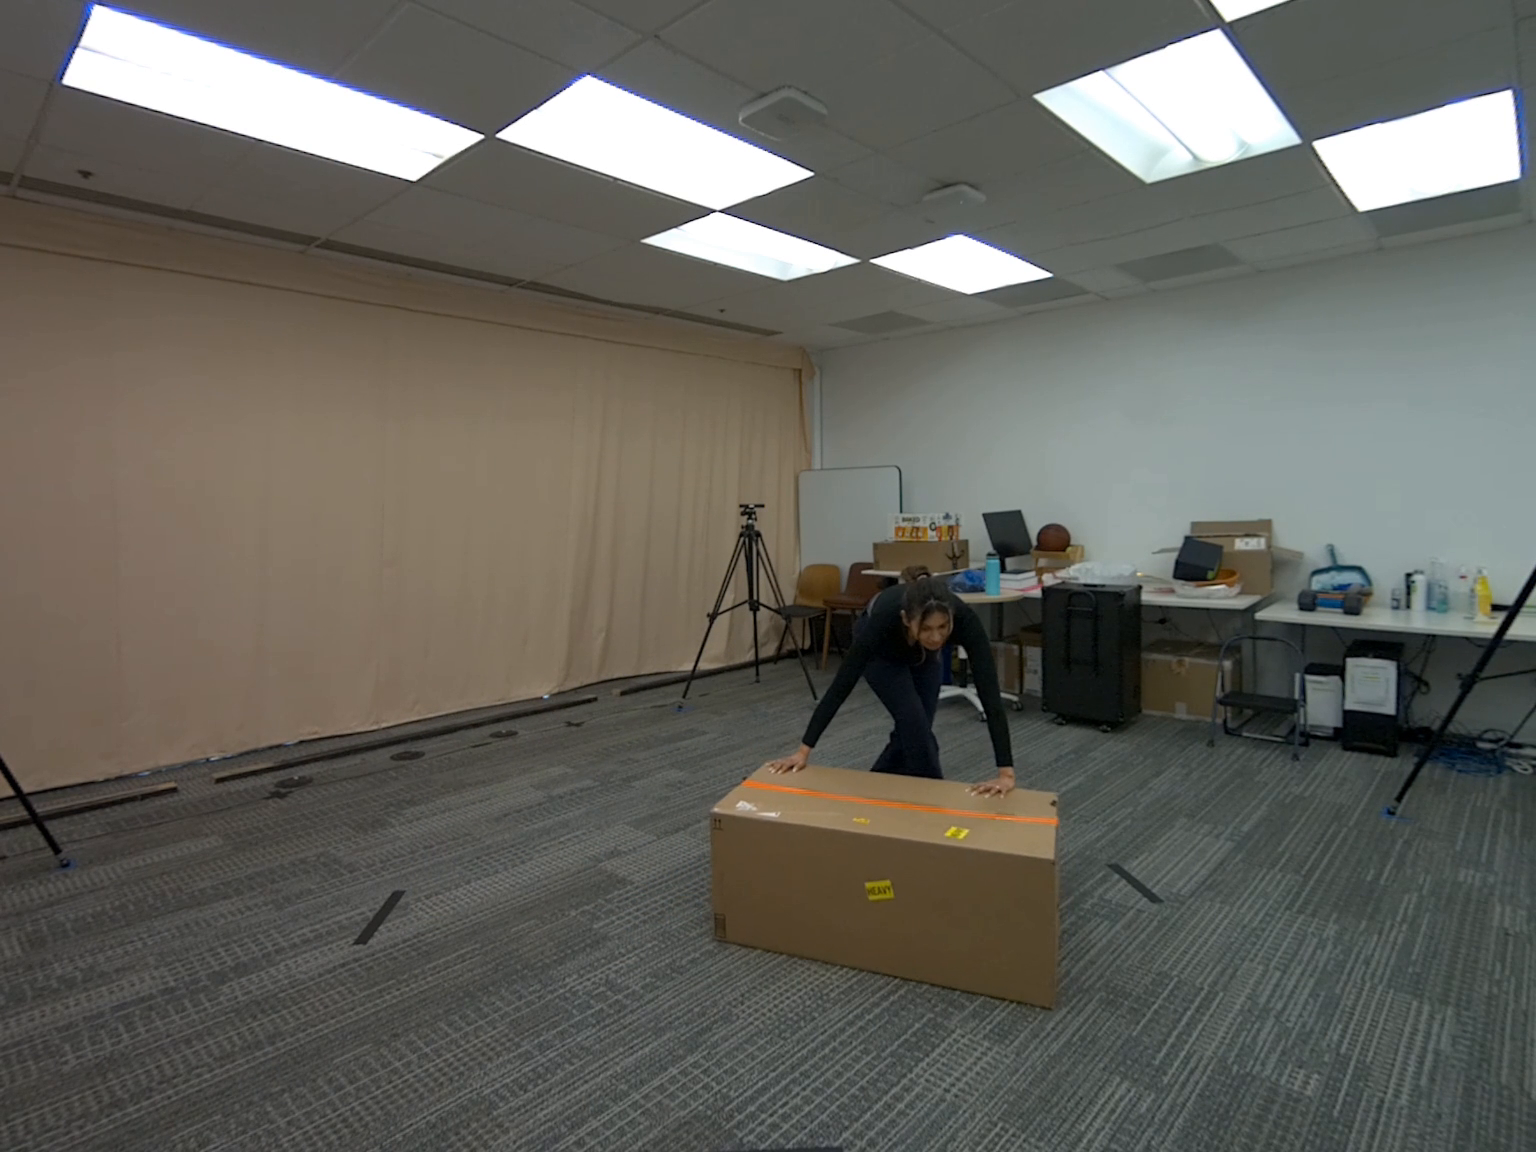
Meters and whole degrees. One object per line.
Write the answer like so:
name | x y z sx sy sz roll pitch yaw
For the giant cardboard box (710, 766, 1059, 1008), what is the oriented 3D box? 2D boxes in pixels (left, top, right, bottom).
giant cardboard box | 0.392 0.940 2.743 1.050 0.425 0.565 1 4 22
